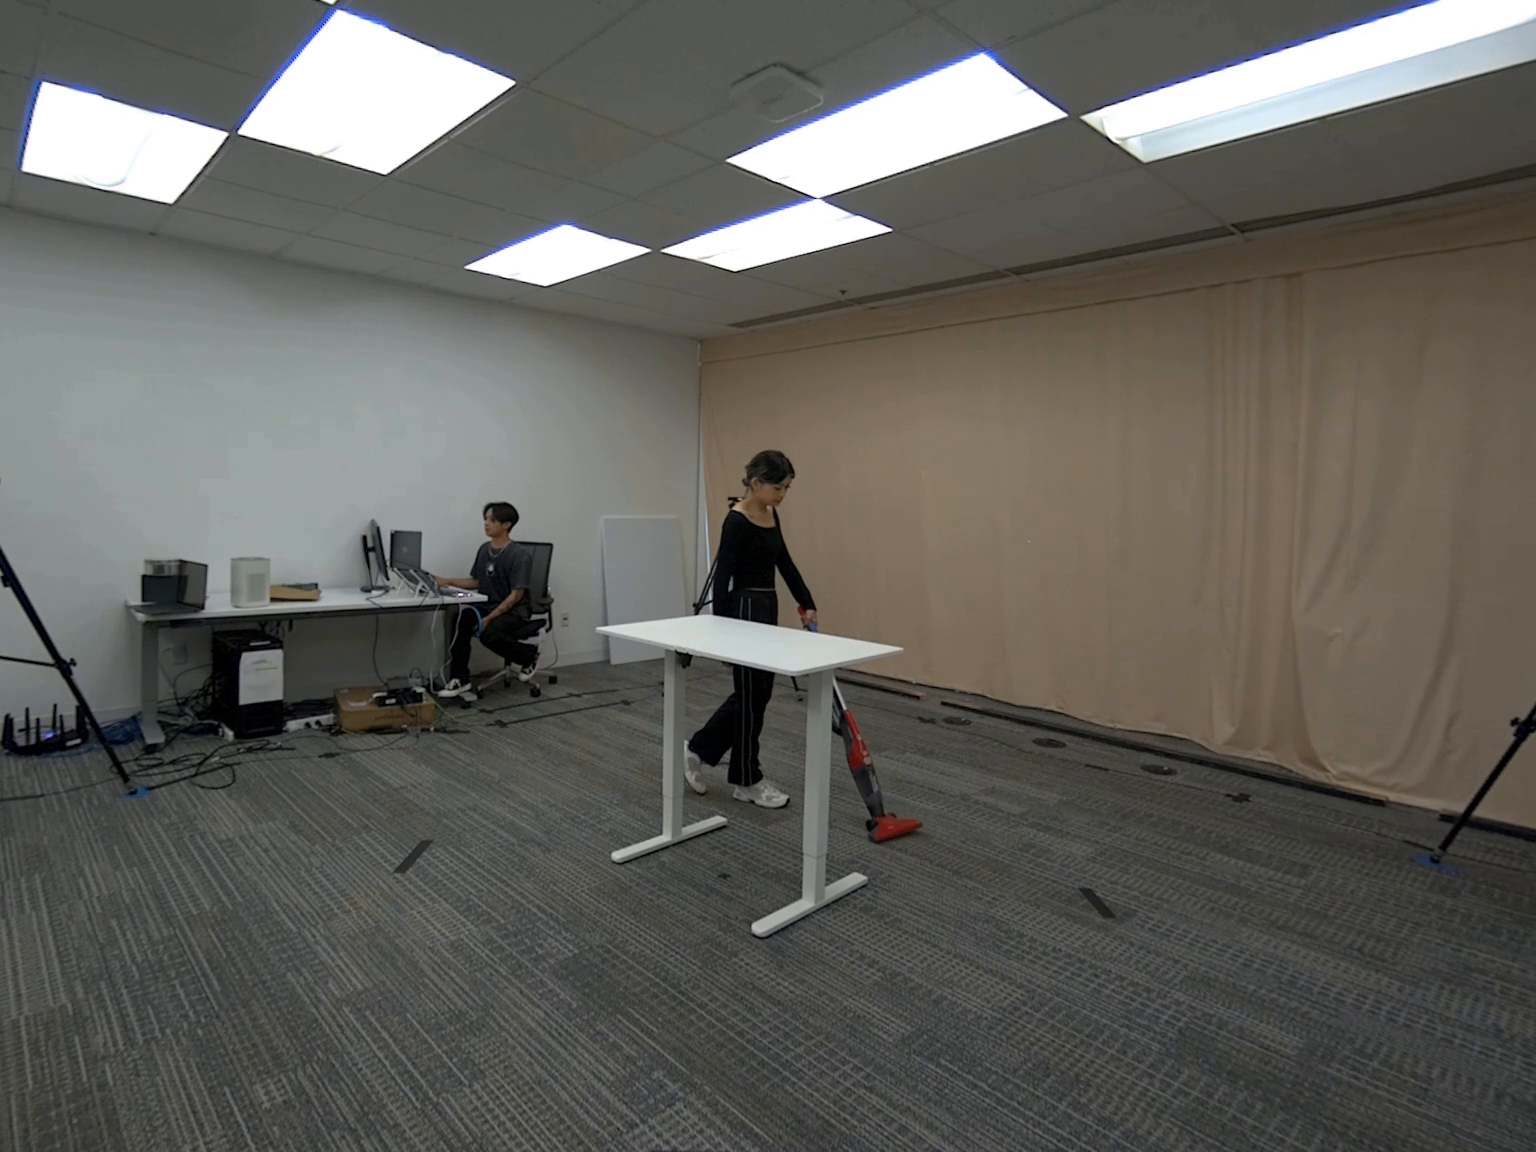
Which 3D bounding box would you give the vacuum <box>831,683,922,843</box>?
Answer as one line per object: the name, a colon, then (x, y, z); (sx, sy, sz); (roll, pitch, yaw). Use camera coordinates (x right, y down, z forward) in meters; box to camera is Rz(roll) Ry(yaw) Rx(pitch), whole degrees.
vacuum: (0.333, 0.631, 3.767); (0.247, 1.073, 0.144); (1, -32, -38)
